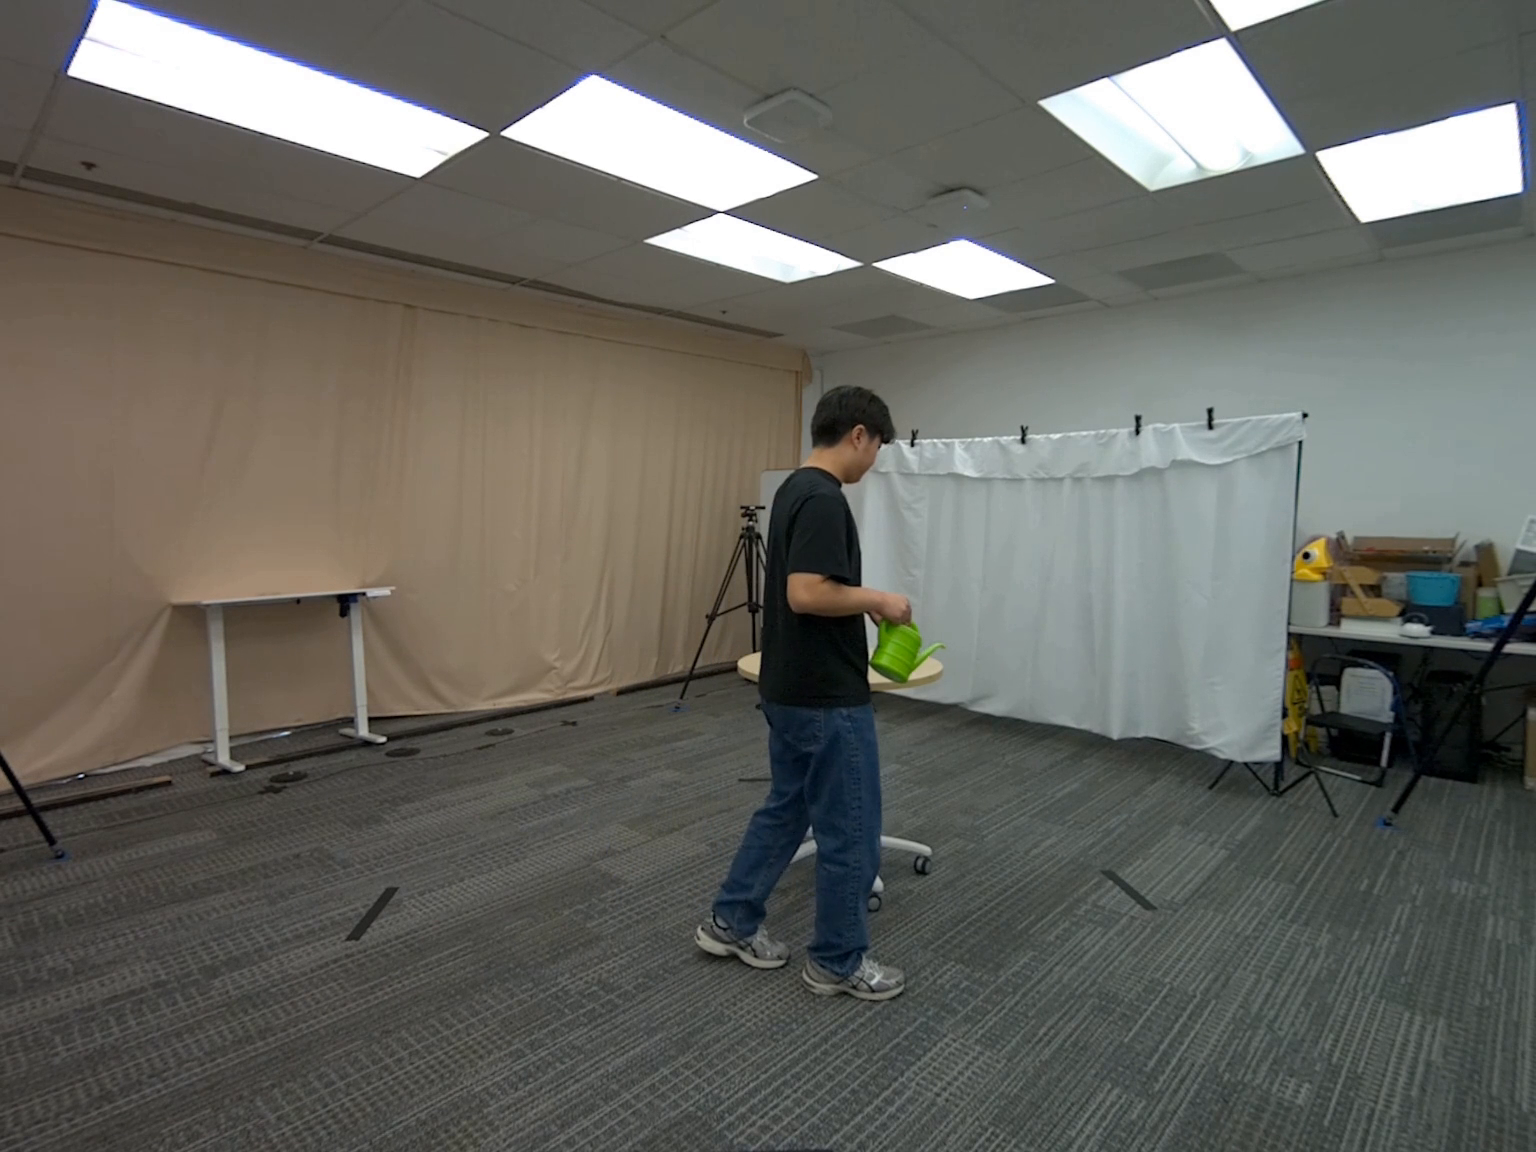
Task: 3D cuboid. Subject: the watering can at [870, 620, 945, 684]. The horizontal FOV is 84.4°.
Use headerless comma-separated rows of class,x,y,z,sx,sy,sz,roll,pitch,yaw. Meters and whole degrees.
watering can,0.404,0.220,2.348,0.272,0.177,0.100,30,-16,-18
